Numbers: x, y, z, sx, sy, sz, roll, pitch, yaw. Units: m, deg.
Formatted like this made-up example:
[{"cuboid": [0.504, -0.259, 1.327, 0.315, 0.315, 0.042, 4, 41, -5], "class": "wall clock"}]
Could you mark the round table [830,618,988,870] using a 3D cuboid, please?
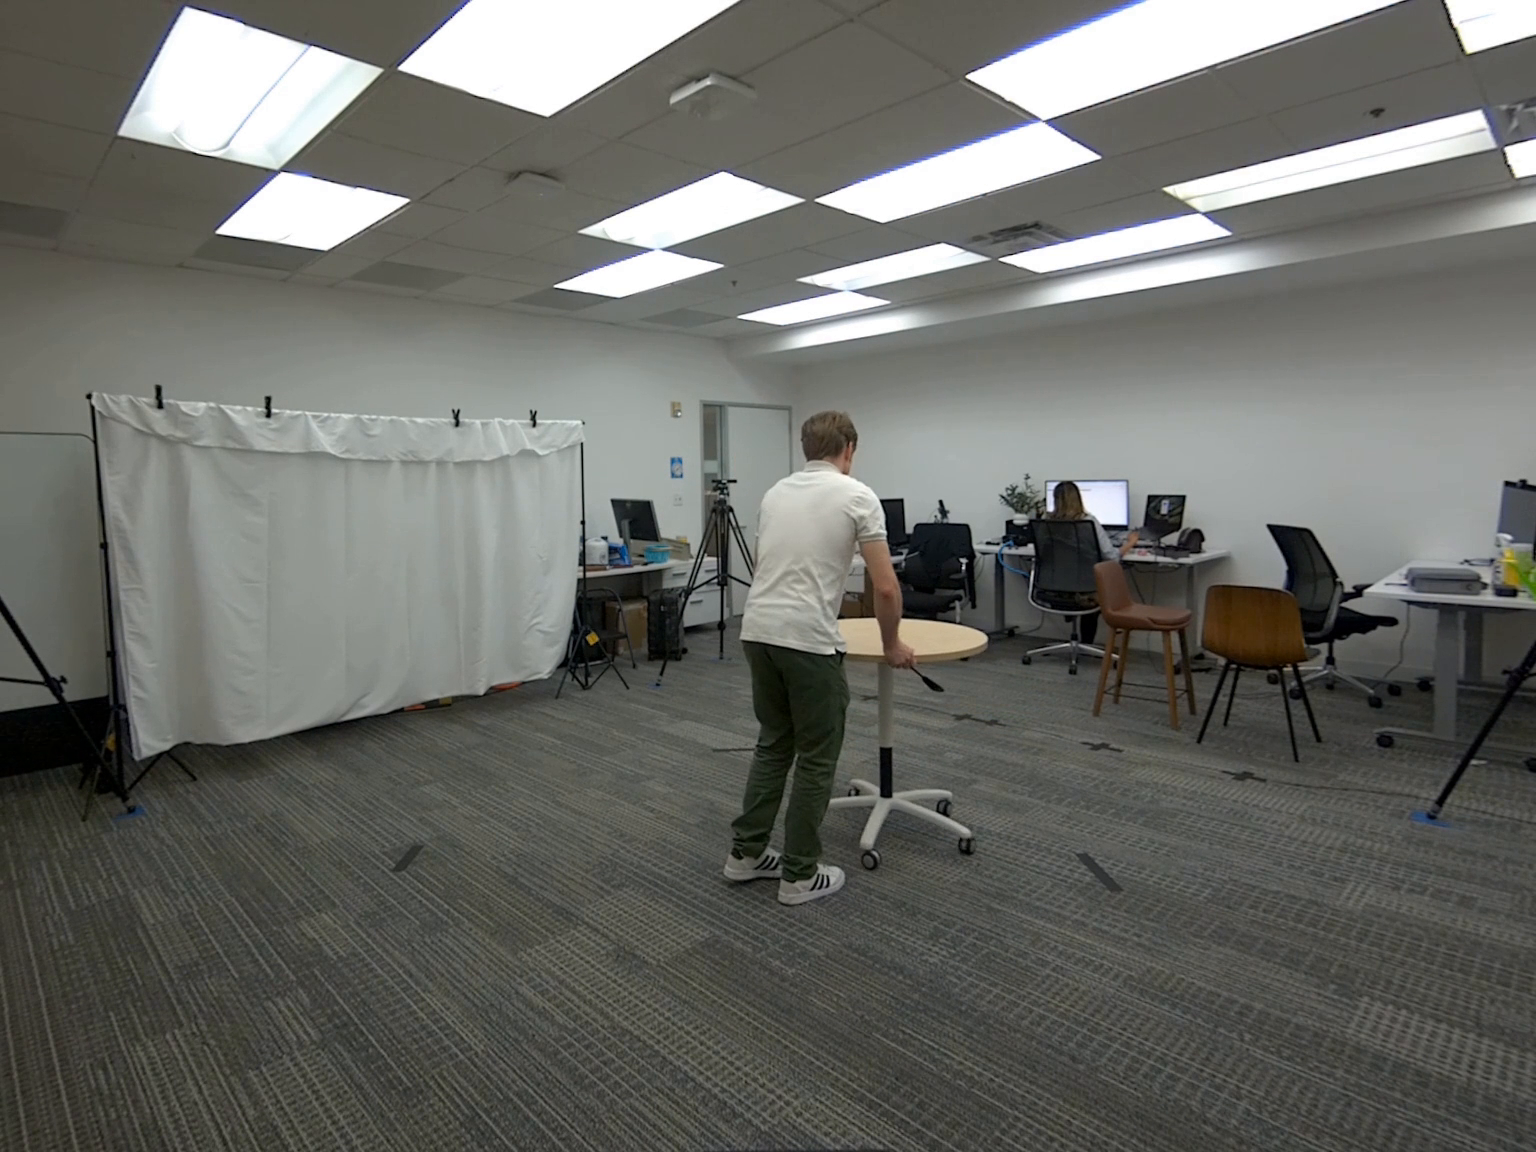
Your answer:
[{"cuboid": [0.466, 0.622, 3.353, 0.763, 0.791, 0.768, -1, 5, -2], "class": "round table"}]
